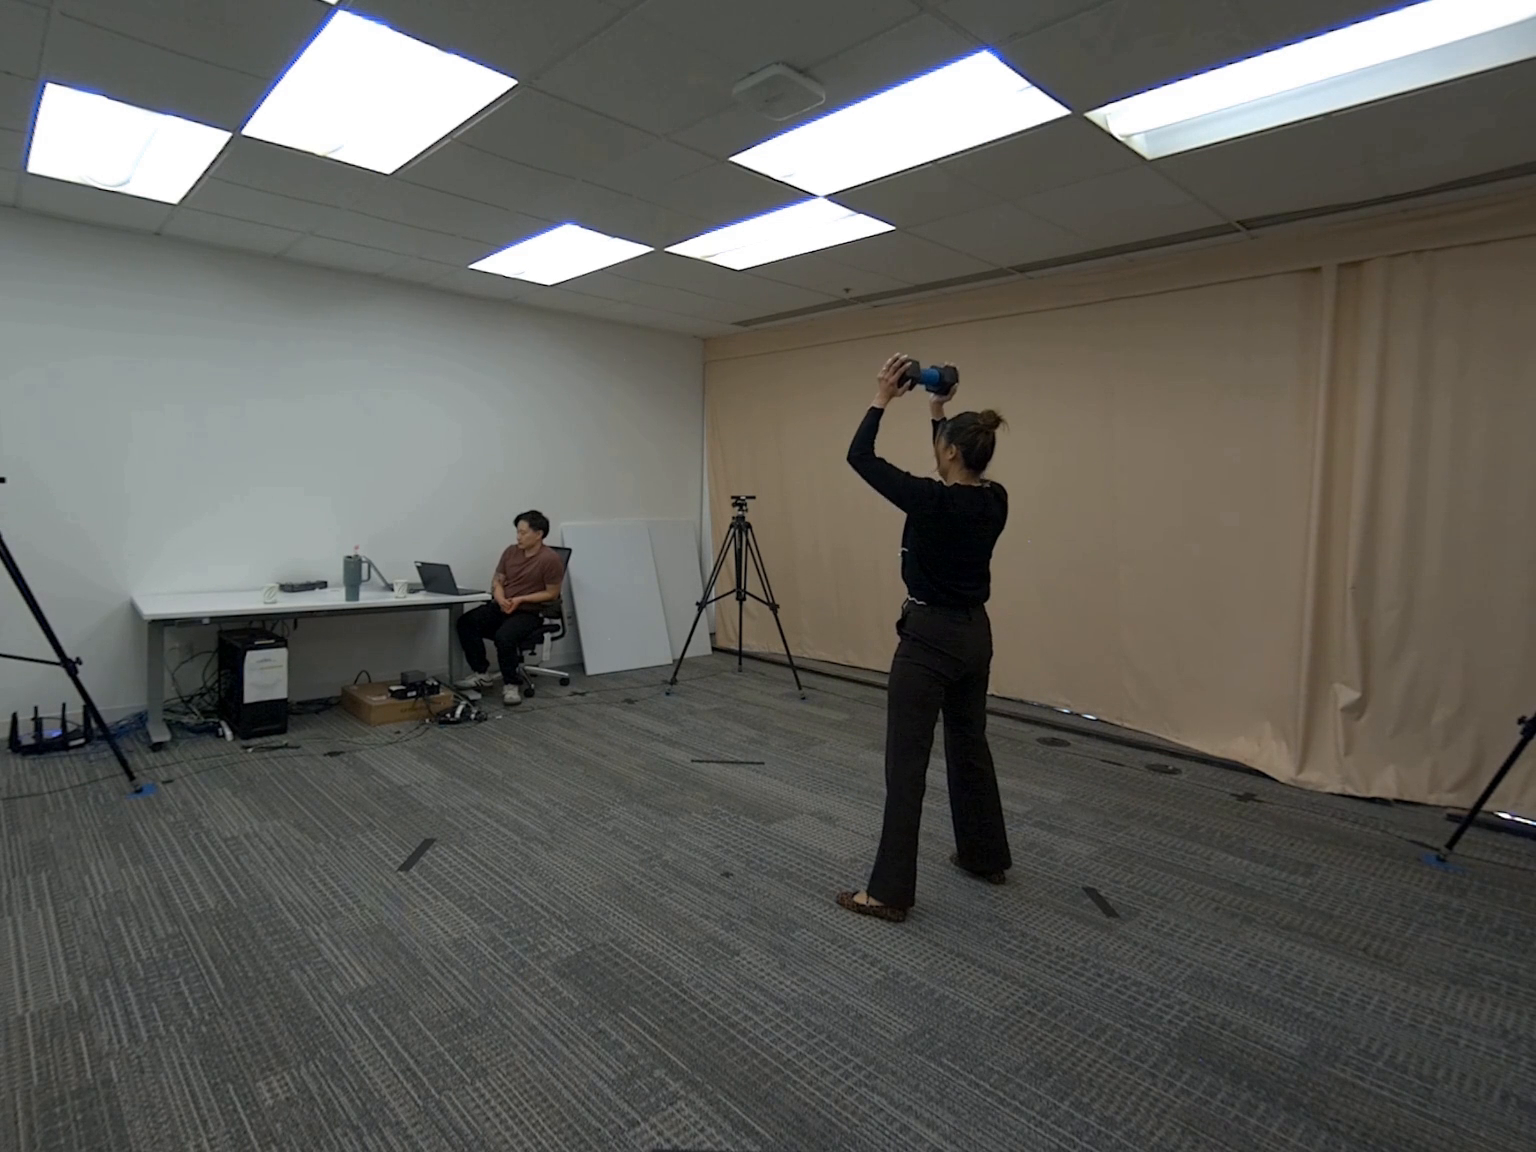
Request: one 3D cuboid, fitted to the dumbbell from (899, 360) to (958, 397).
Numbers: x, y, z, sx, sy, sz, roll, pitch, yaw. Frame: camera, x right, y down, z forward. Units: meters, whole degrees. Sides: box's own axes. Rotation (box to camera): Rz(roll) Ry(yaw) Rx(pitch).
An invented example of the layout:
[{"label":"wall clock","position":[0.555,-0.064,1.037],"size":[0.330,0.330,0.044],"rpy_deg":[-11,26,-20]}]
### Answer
[{"label":"dumbbell","position":[0.550,-0.706,3.008],"size":[0.287,0.111,0.122],"rpy_deg":[-3,-35,-39]}]
